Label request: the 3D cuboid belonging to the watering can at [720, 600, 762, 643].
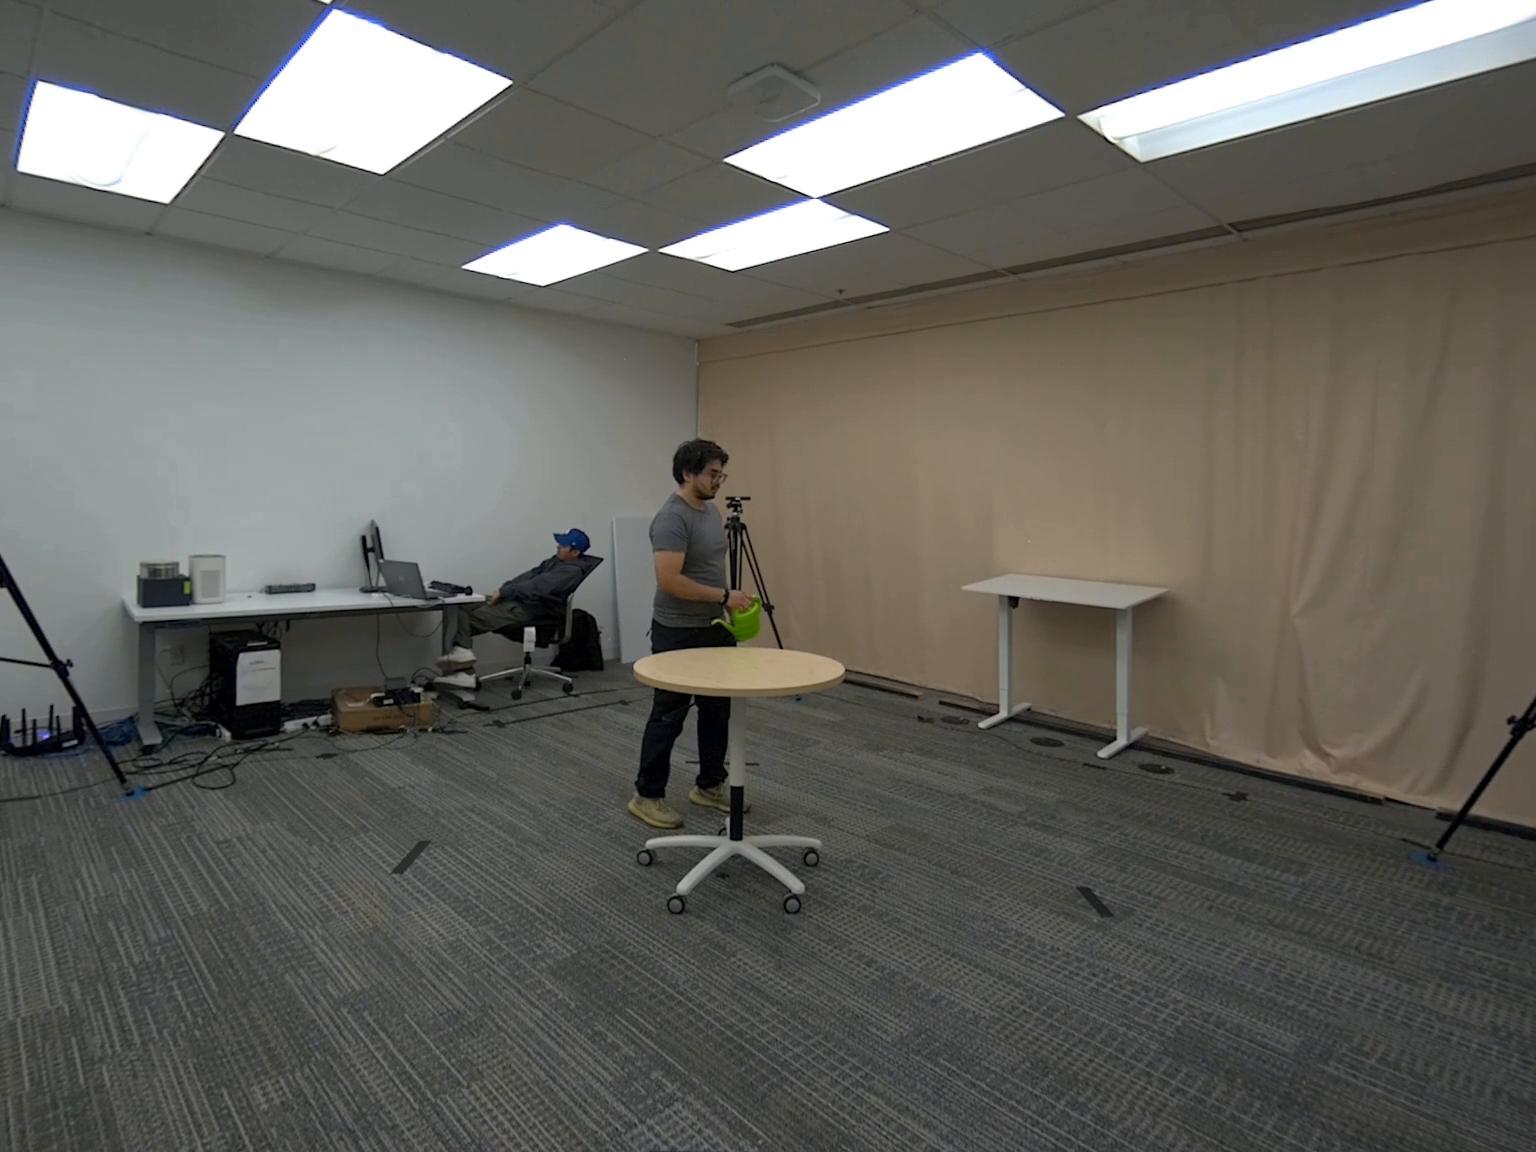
[{"bbox_3d":[-0.142,0.190,3.589,0.275,0.173,0.101,-23,39,-26],"label":"watering can"}]
